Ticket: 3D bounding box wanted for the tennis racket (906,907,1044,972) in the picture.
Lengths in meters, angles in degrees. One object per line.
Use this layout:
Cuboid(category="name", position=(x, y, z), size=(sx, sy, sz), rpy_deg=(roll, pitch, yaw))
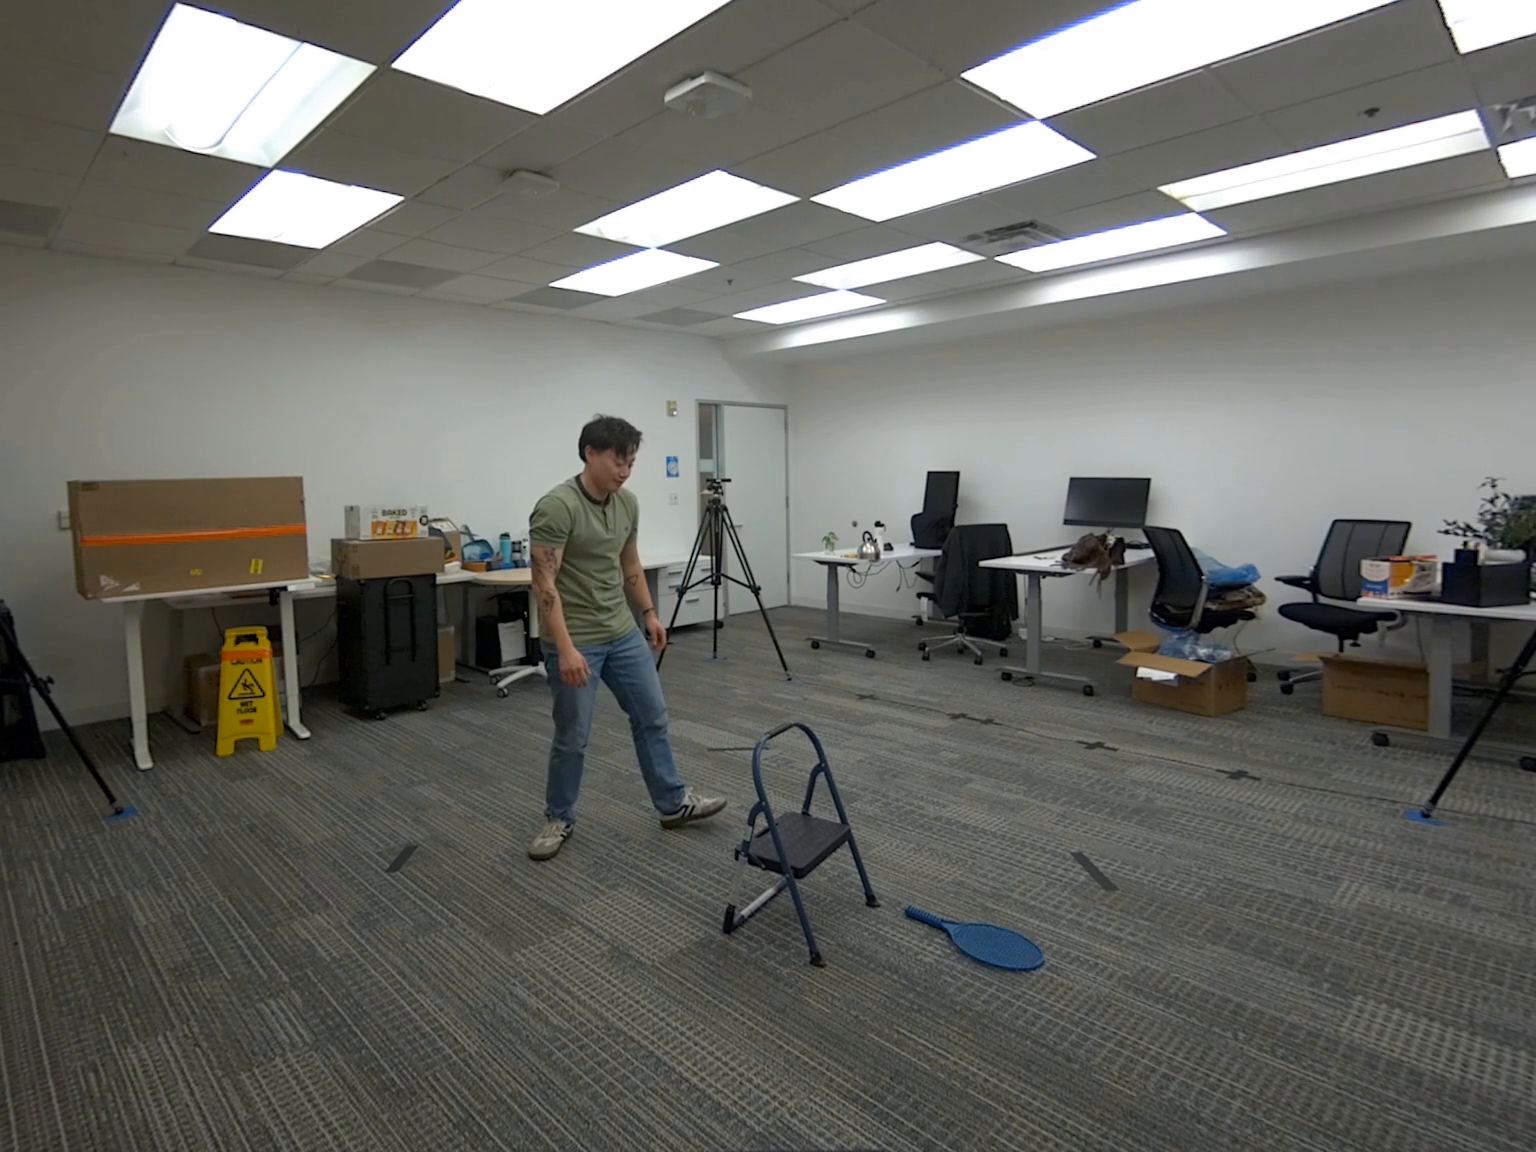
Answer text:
Cuboid(category="tennis racket", position=(0.610, 1.074, 2.571), size=(0.447, 0.031, 0.208), rpy_deg=(7, 9, 43))
